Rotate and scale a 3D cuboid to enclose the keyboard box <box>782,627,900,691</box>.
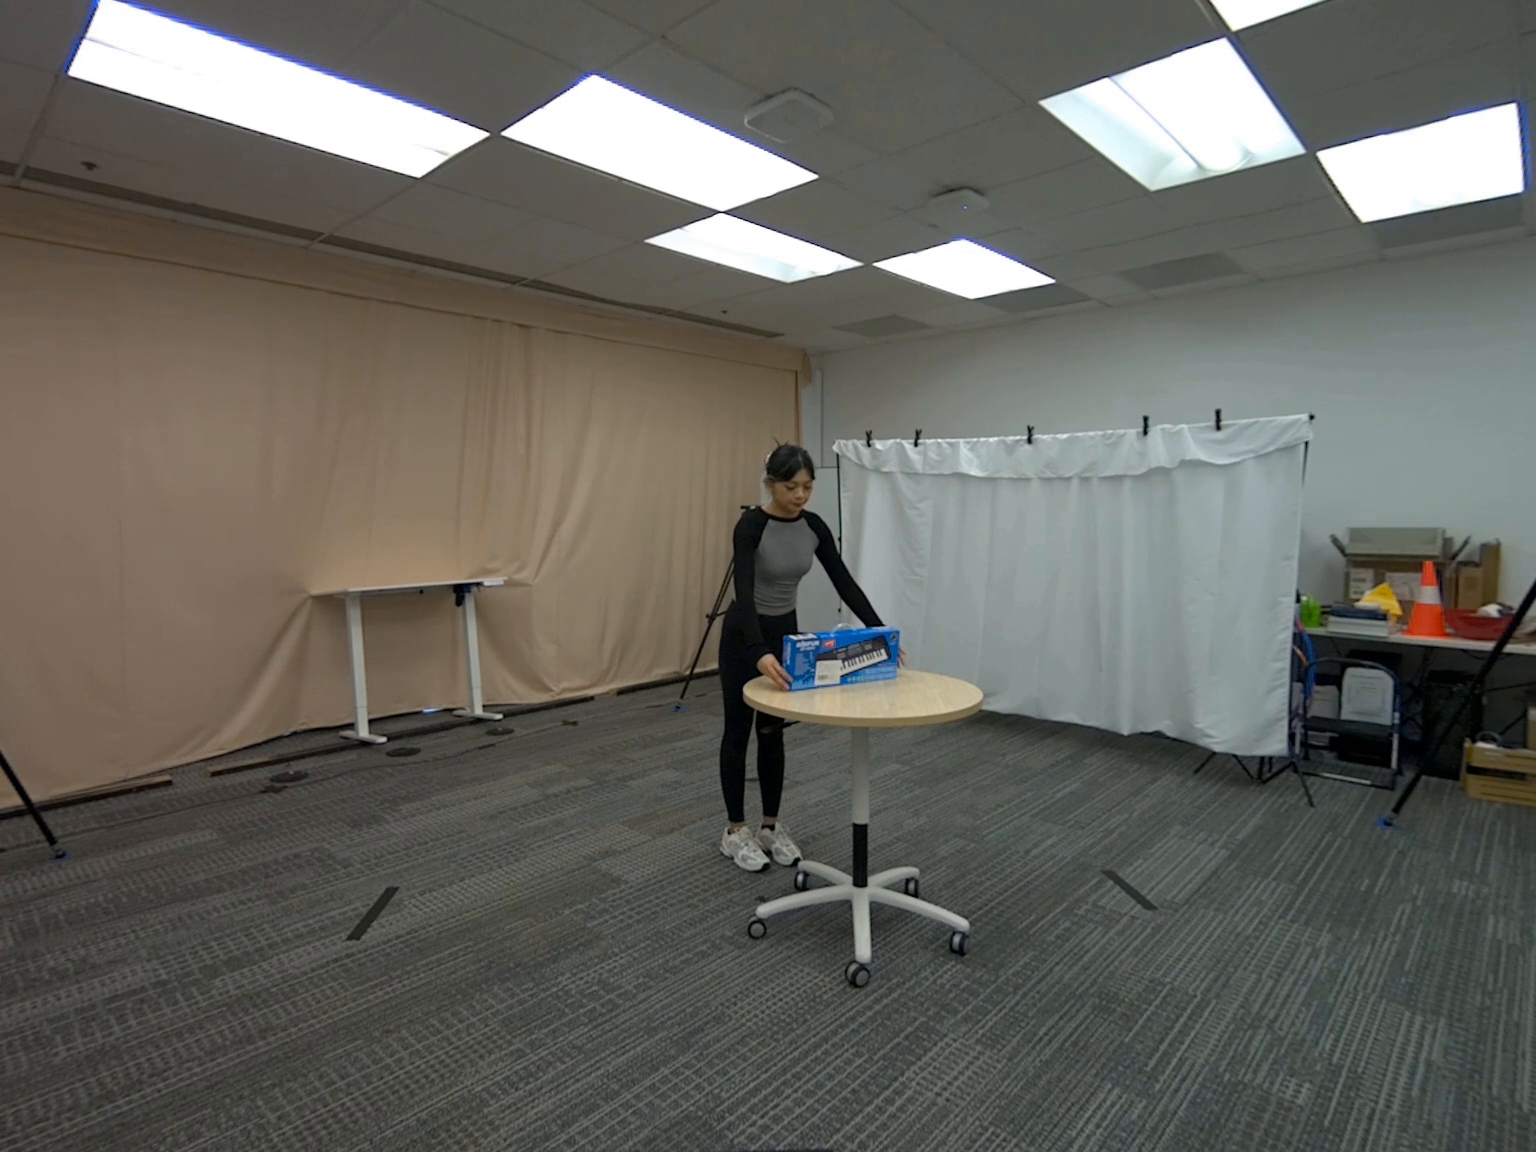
[{"bbox_3d":[0.249,0.276,2.827,0.425,0.175,0.061,-3,8,-29],"label":"keyboard box"}]
